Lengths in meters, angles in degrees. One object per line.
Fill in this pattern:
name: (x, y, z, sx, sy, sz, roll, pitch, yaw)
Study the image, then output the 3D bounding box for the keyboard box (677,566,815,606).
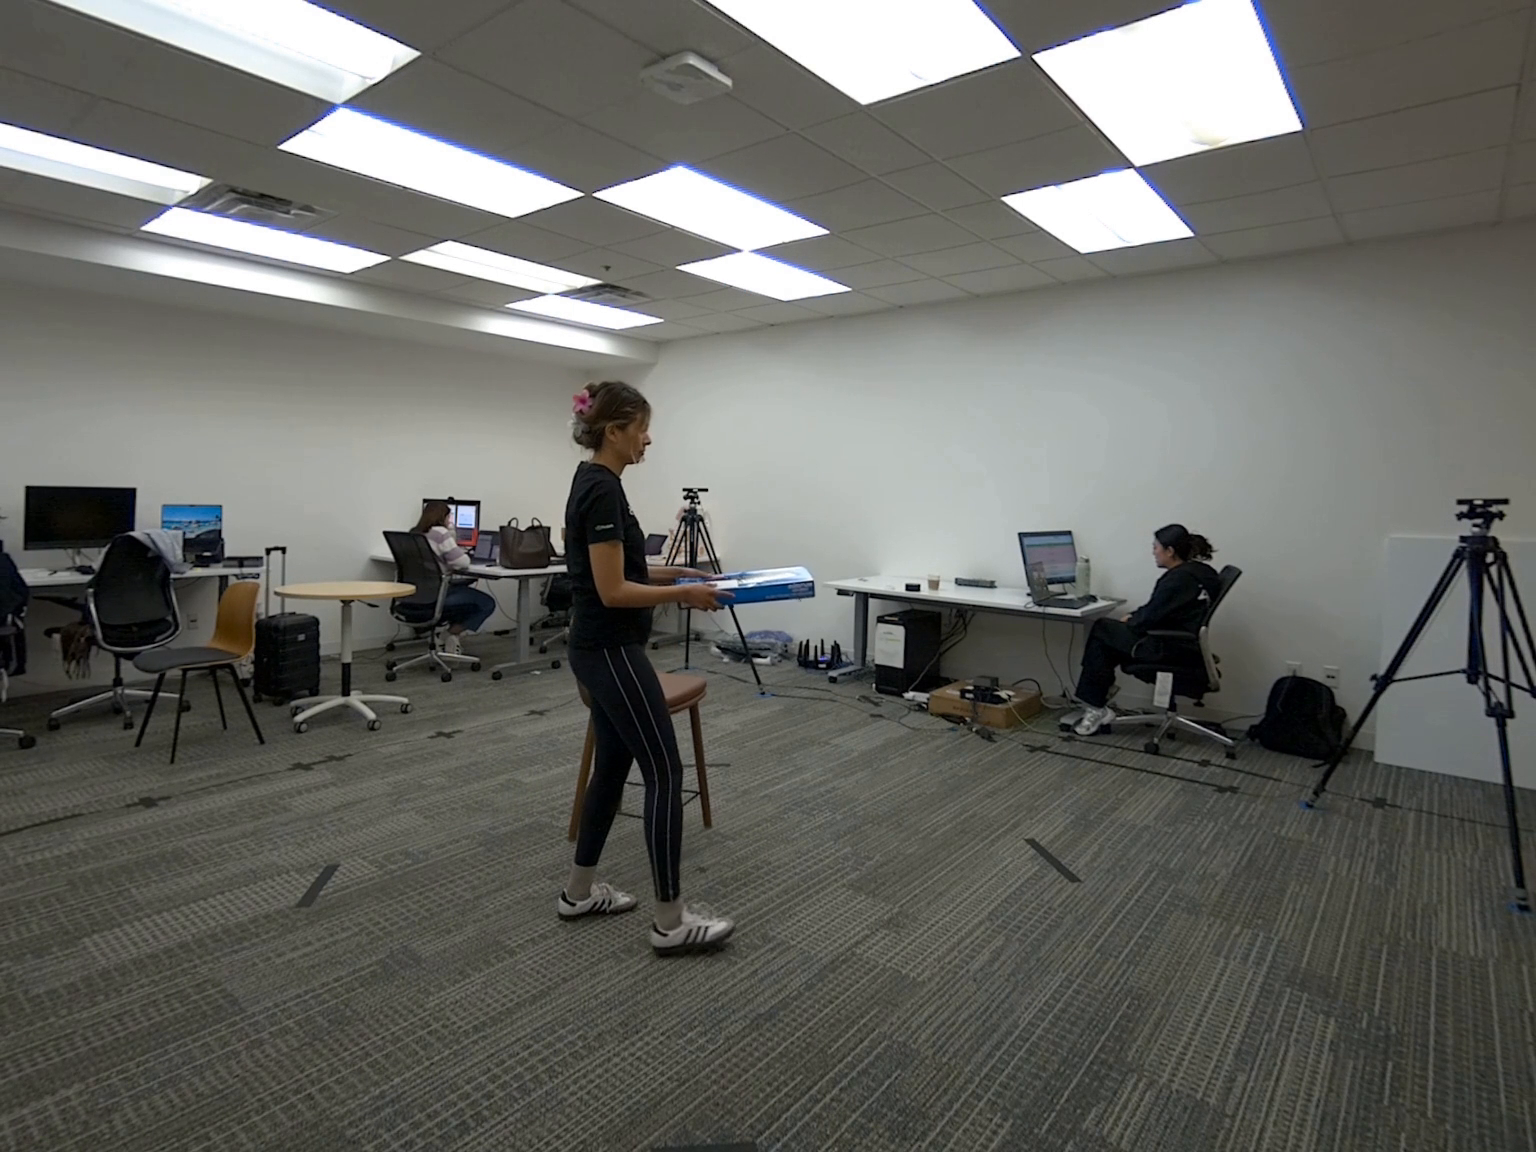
keyboard box: (-0.088, 0.035, 2.778, 0.436, 0.058, 0.179, -5, 16, -1)
